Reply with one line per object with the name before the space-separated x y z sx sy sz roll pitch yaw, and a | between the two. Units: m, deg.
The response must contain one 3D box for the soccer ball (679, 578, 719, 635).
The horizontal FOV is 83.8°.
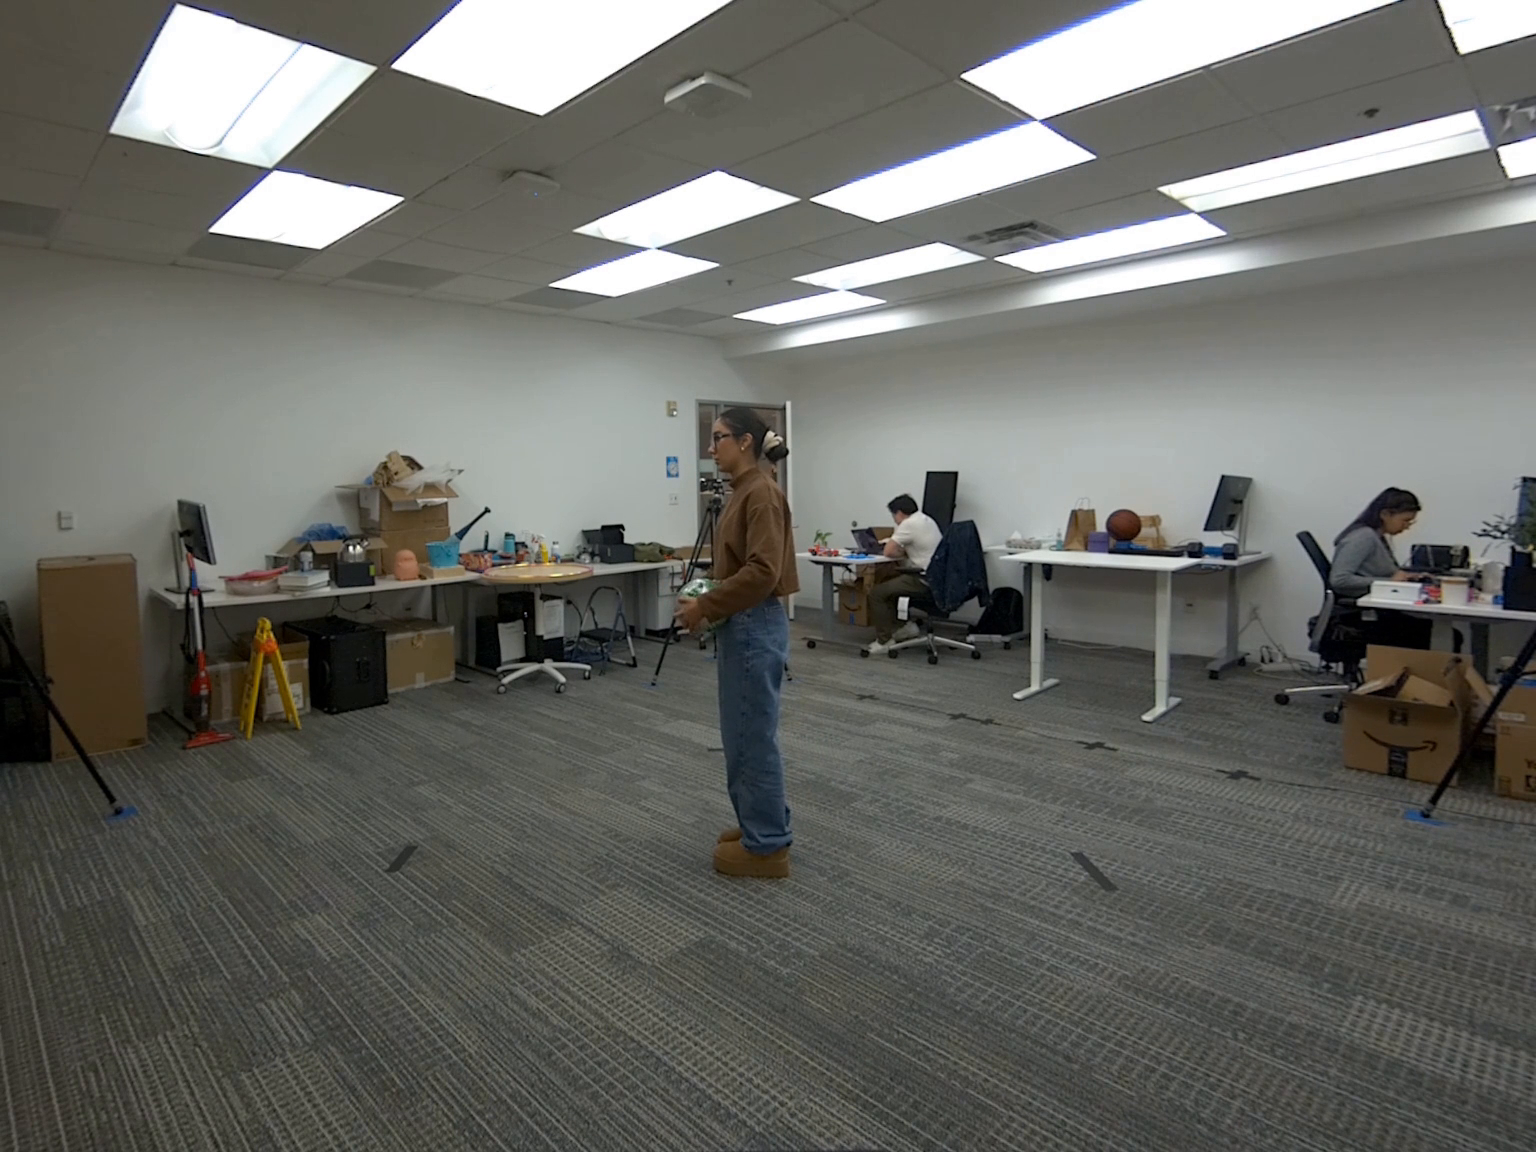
soccer ball | -0.211 0.101 2.915 0.187 0.187 0.188 -1 5 -2
